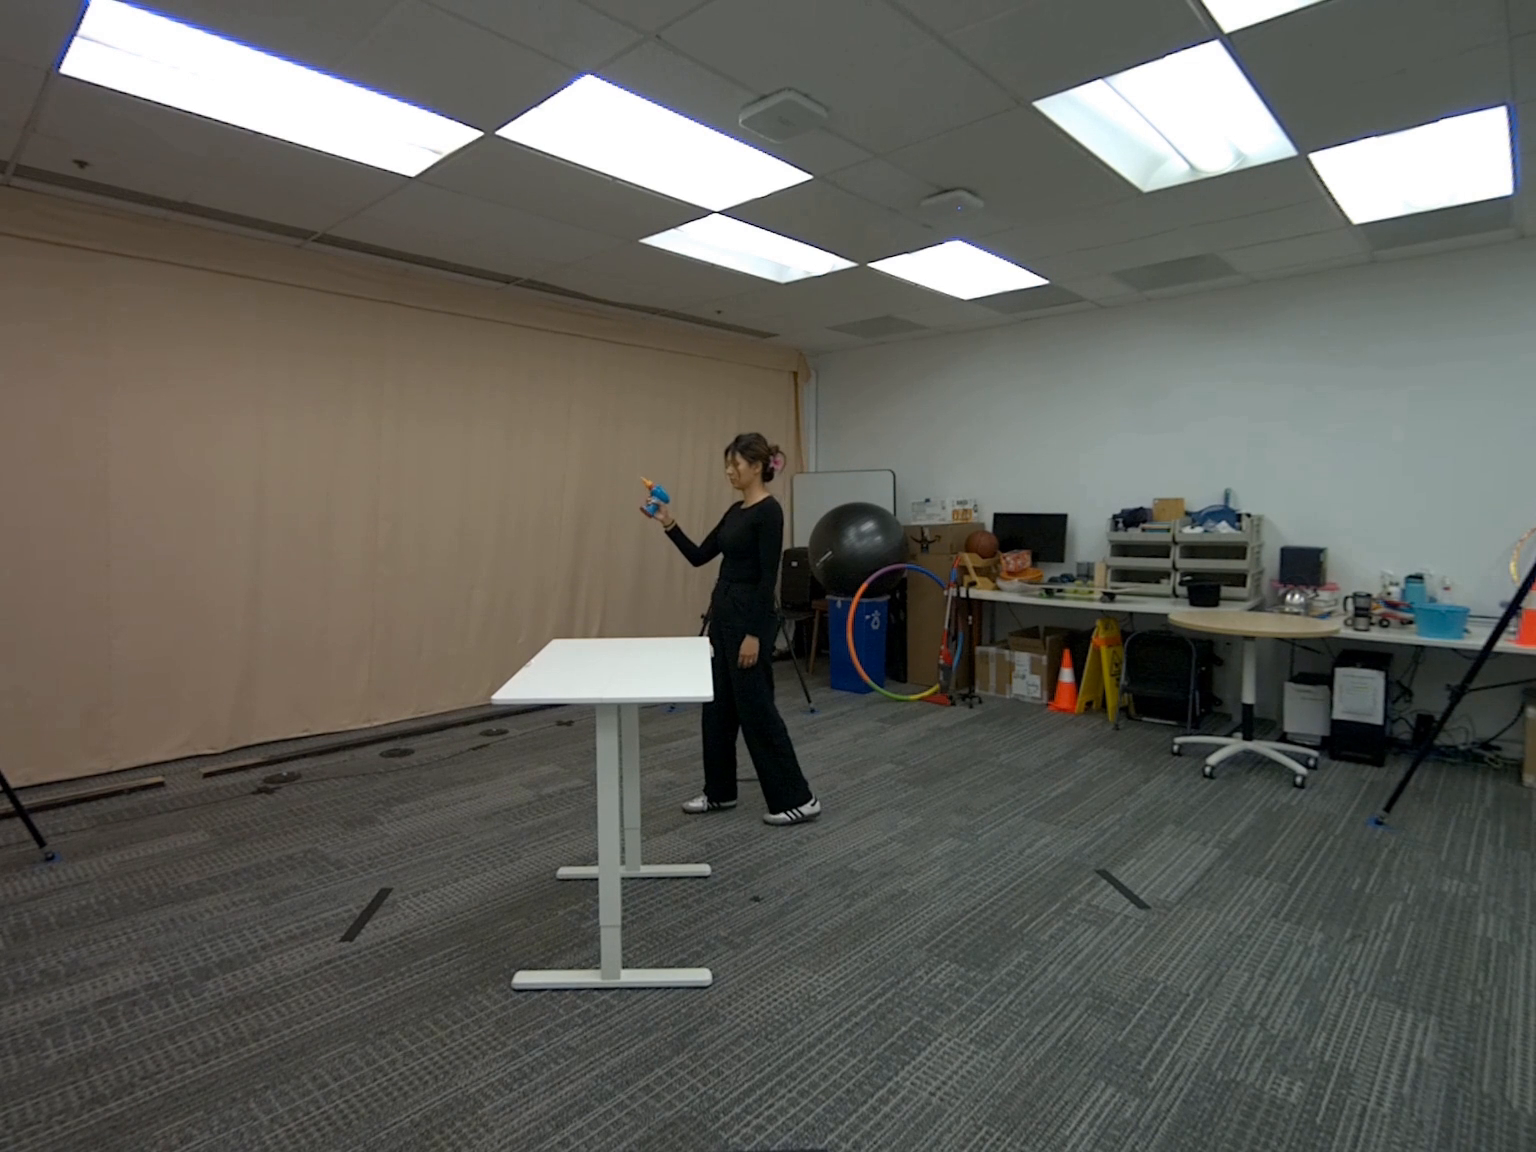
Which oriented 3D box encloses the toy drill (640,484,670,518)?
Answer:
[{"bbox_3d":[-0.533,-0.363,3.862,0.168,0.145,0.062,42,-16,-8],"label":"toy drill"}]
